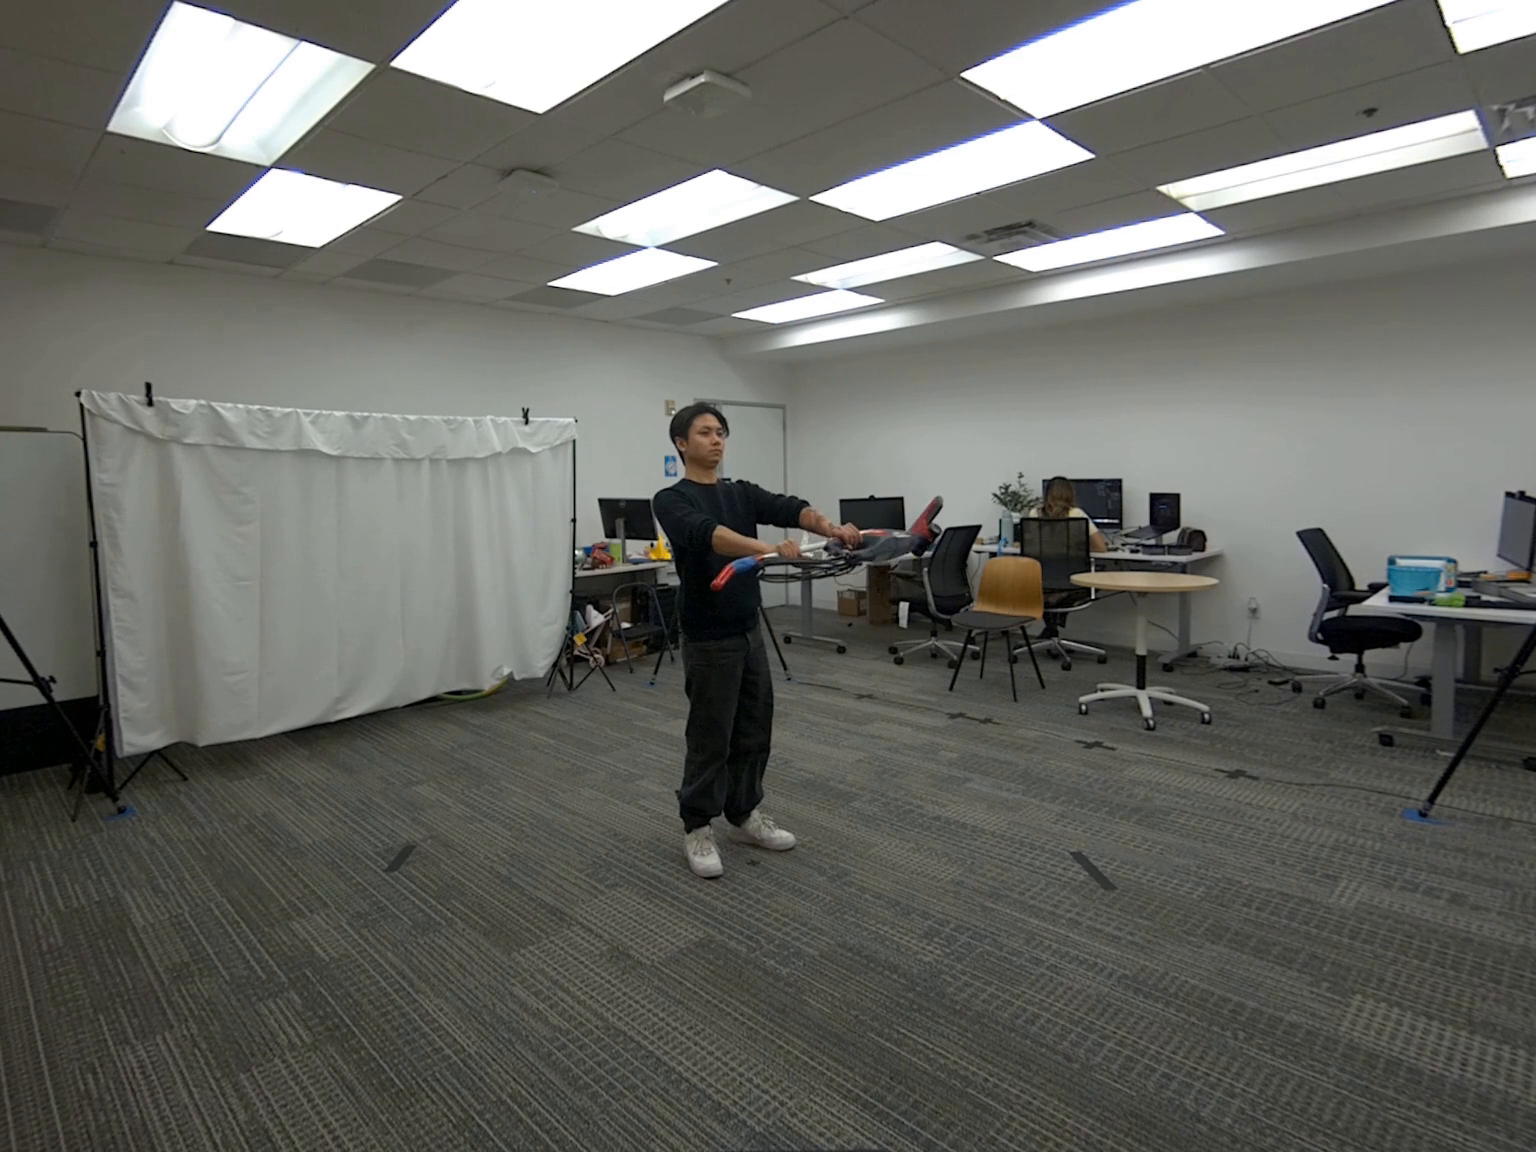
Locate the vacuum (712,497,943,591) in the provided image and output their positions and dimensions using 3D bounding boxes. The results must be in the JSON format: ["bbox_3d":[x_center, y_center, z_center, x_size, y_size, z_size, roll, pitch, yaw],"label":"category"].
[{"bbox_3d":[0.200,-0.070,2.791,1.026,0.148,0.251,-14,-29,-41],"label":"vacuum"}]
